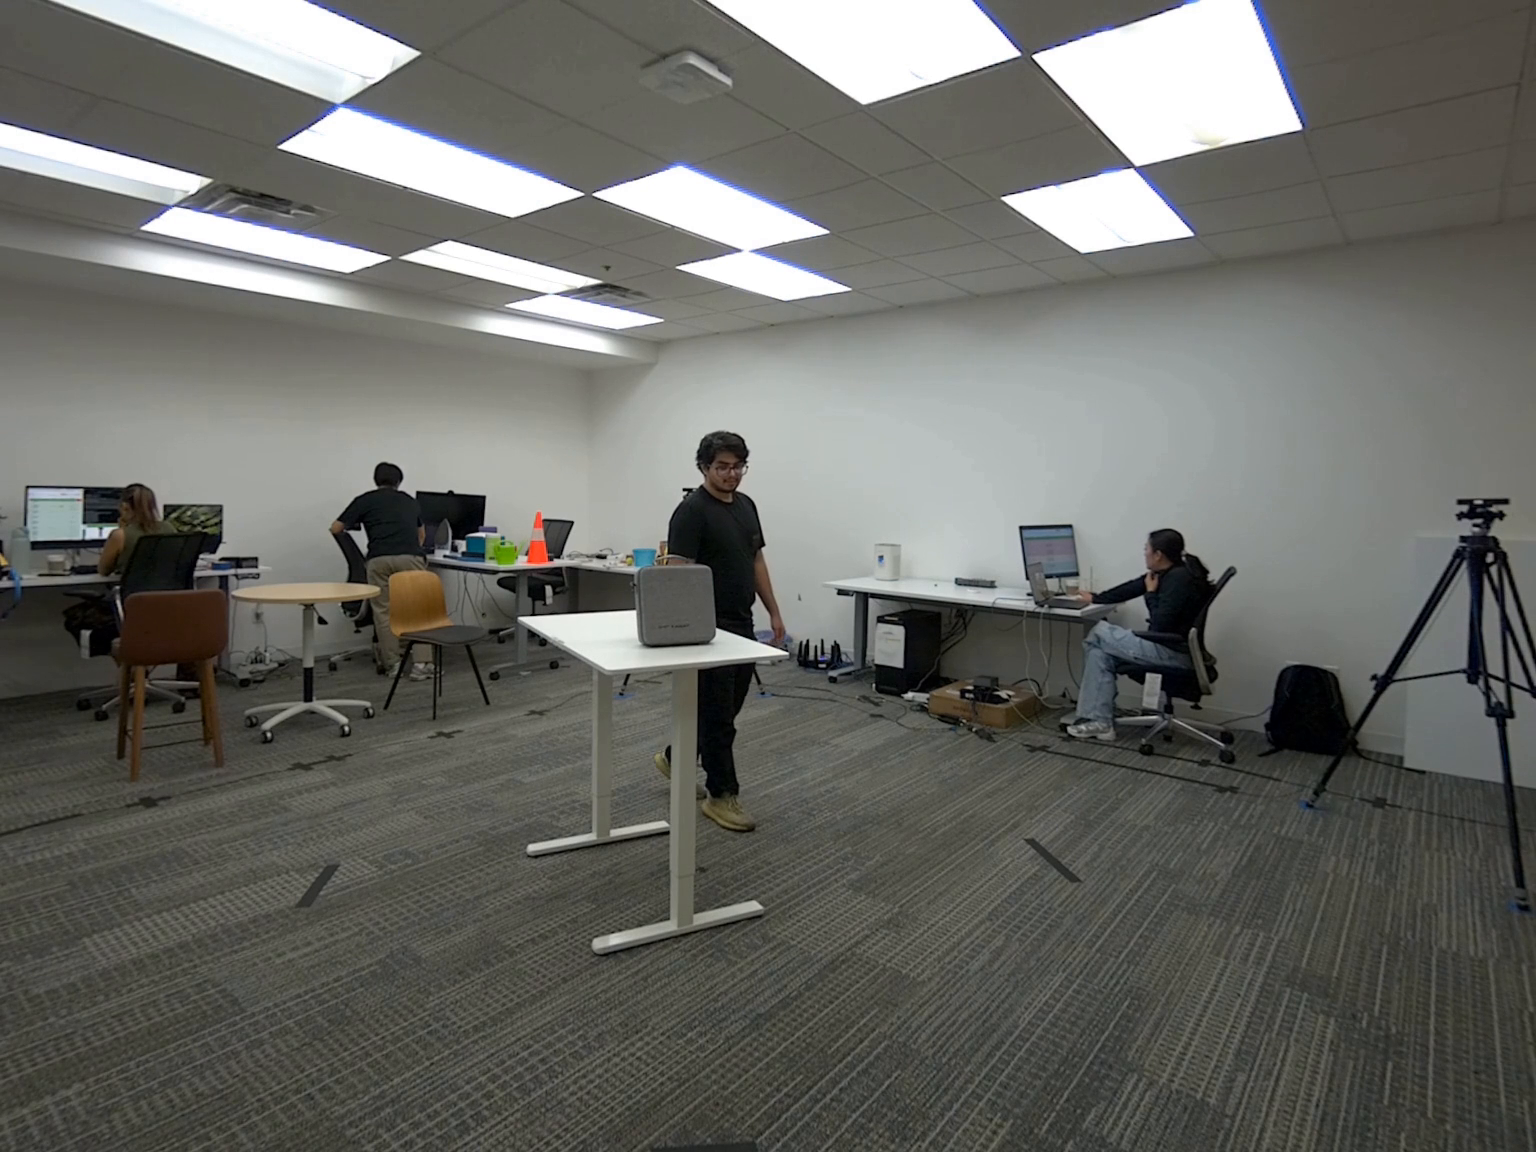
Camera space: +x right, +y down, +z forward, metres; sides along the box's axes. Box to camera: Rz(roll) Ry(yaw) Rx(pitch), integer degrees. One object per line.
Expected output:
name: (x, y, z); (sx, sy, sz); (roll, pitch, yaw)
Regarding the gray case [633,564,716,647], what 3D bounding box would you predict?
gray case: (-0.311, 0.090, 2.783); (0.251, 0.262, 0.106); (-1, -7, -24)
